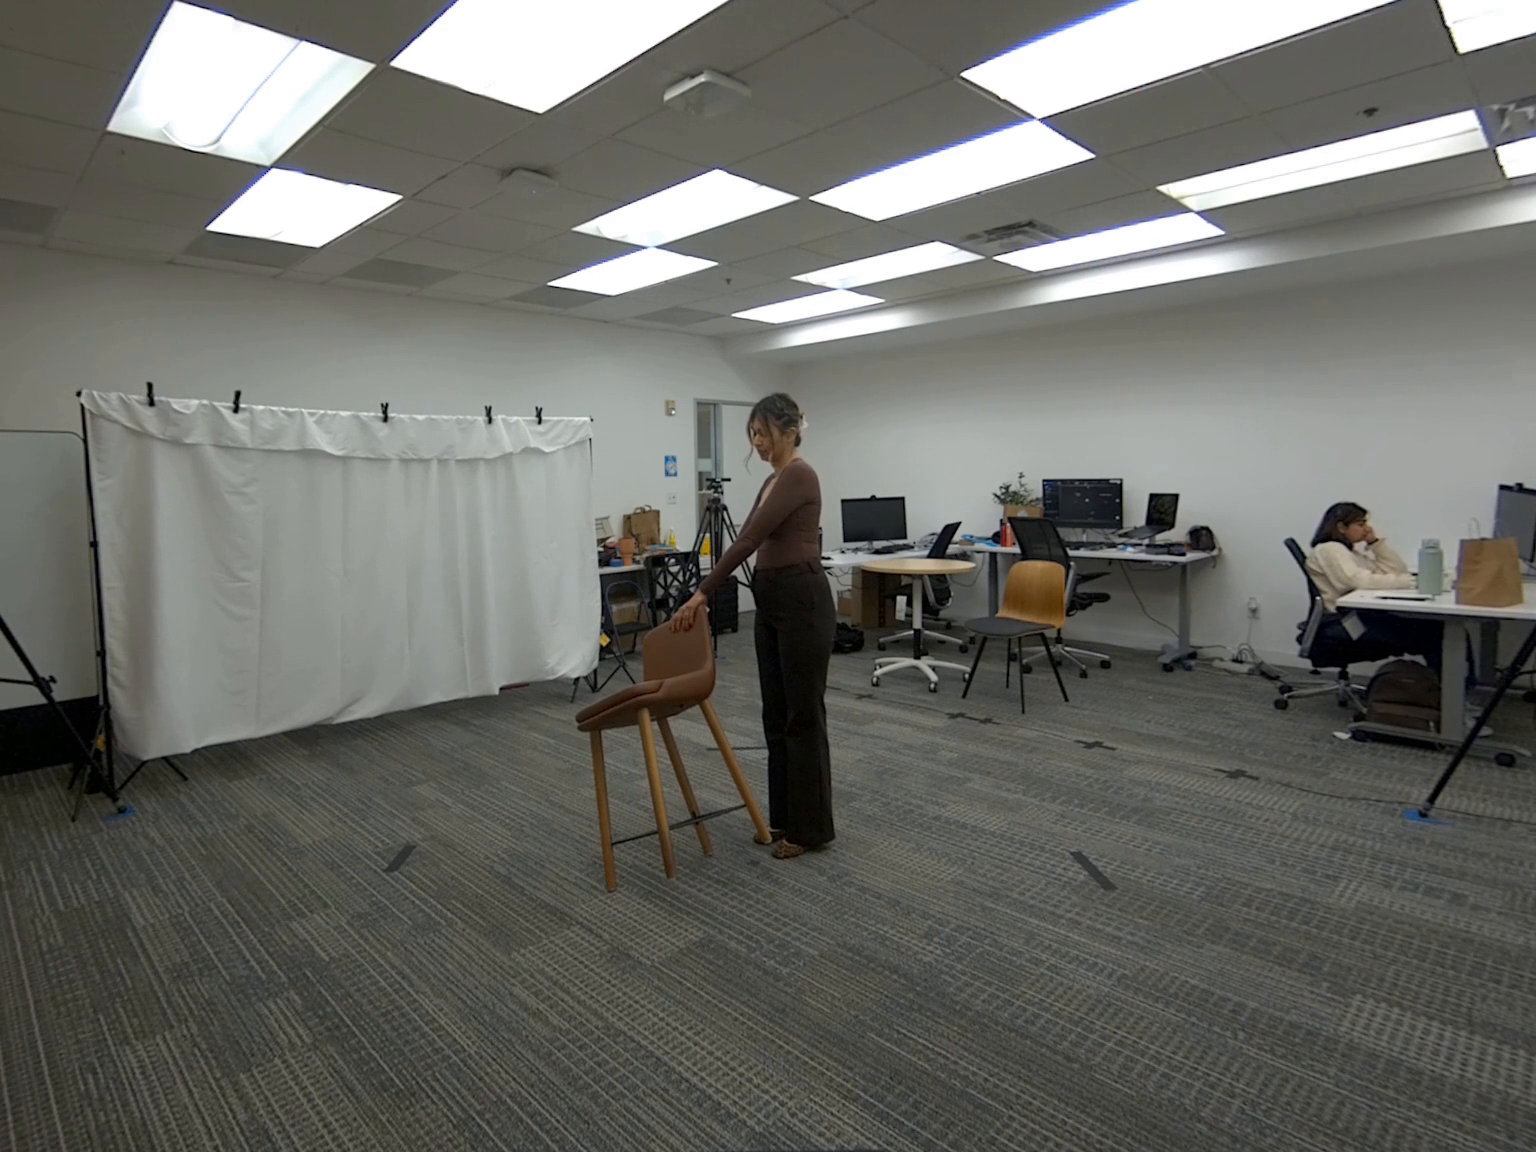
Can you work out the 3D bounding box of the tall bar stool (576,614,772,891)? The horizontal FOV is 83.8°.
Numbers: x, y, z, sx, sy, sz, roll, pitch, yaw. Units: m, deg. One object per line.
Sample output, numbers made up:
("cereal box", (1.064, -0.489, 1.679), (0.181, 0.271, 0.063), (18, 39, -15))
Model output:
("tall bar stool", (-0.380, 0.581, 3.037), (0.454, 0.906, 0.461), (-1, -21, -42))
